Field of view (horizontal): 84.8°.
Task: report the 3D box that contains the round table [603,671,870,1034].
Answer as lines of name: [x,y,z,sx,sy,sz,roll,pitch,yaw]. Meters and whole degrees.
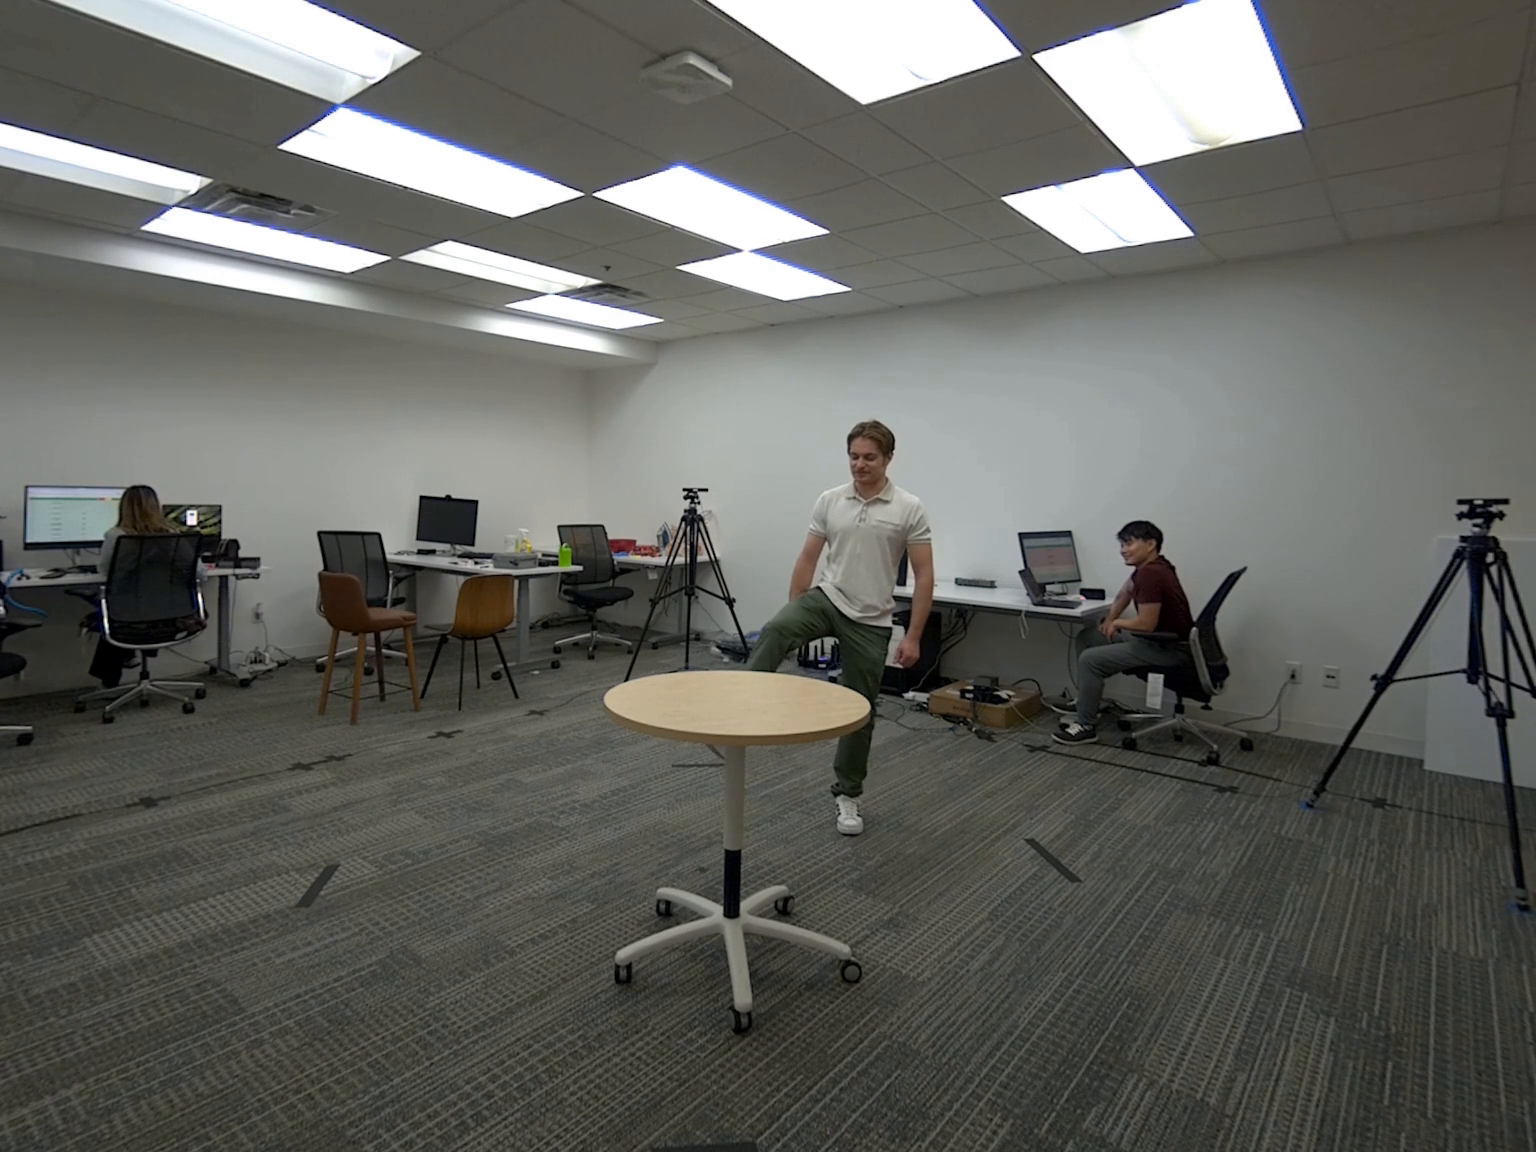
round table: [-0.113,0.745,2.487,0.763,0.791,0.768,1,4,-2]
